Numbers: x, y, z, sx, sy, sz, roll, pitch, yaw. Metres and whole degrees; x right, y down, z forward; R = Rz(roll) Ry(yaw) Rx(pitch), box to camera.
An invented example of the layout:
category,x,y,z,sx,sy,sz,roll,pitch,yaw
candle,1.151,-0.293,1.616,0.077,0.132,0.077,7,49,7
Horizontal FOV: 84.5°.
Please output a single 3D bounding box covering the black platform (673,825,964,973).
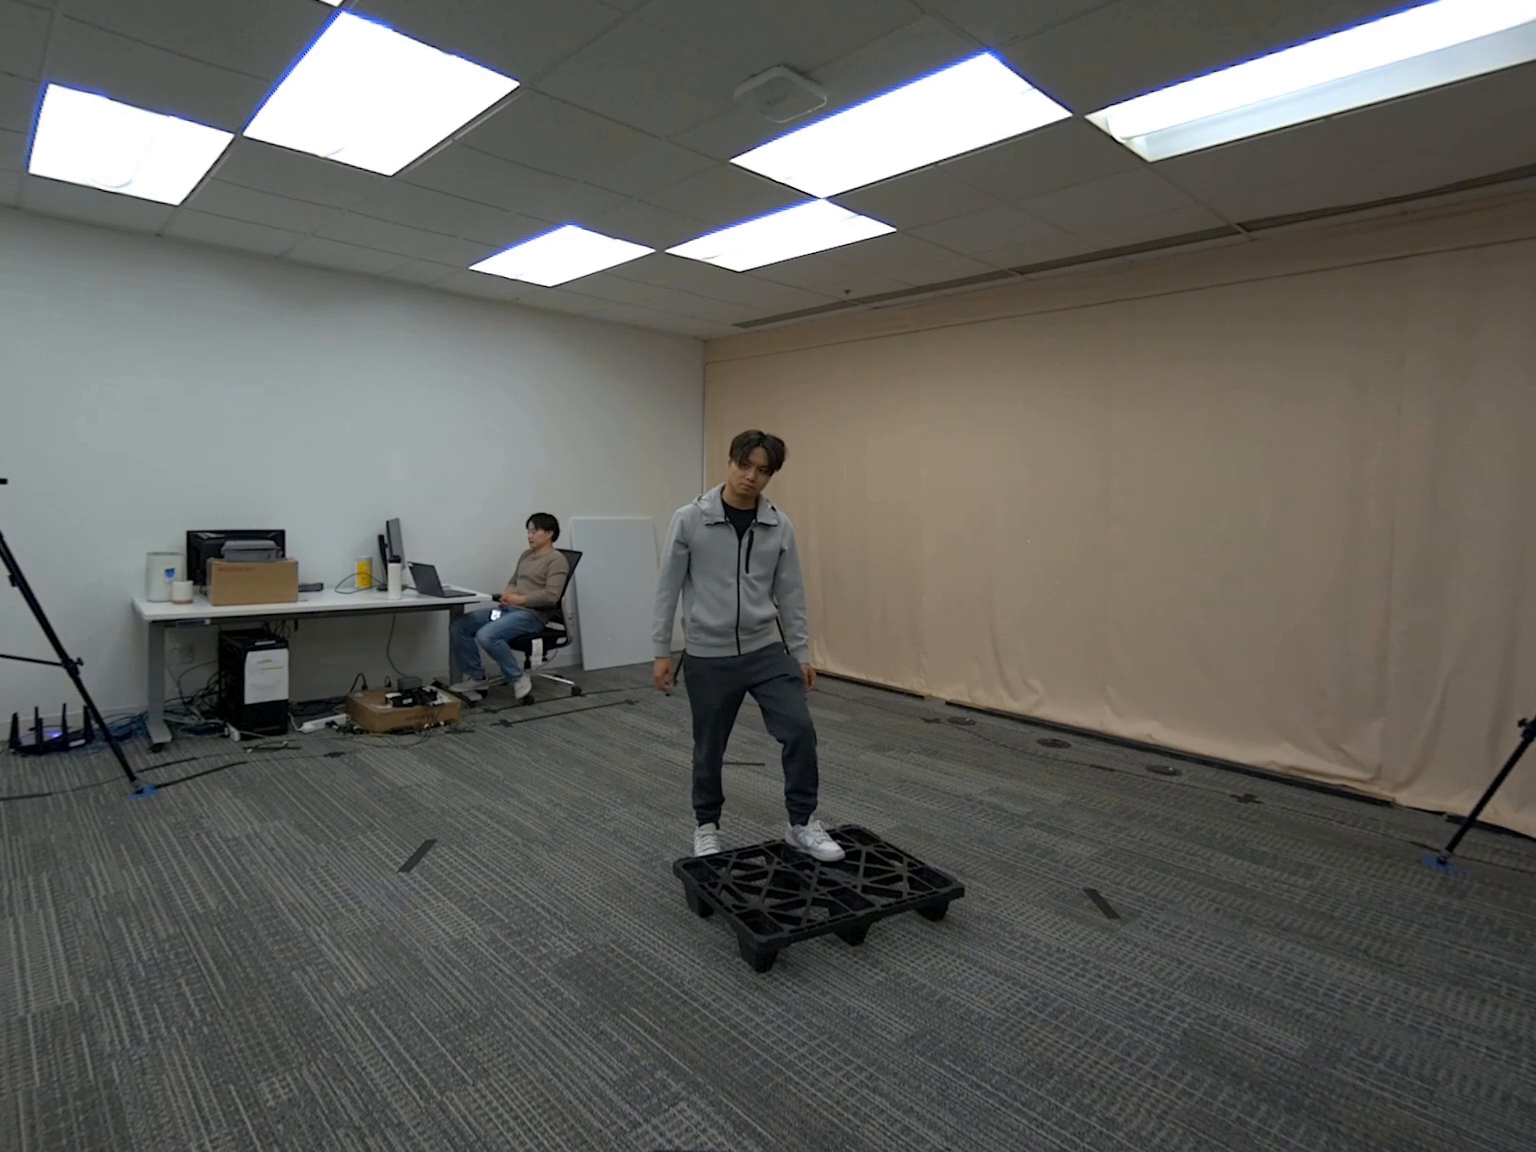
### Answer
category,x,y,z,sx,sy,sz,roll,pitch,yaw
black platform,0.147,1.070,2.844,0.789,0.143,0.619,-1,5,-30
